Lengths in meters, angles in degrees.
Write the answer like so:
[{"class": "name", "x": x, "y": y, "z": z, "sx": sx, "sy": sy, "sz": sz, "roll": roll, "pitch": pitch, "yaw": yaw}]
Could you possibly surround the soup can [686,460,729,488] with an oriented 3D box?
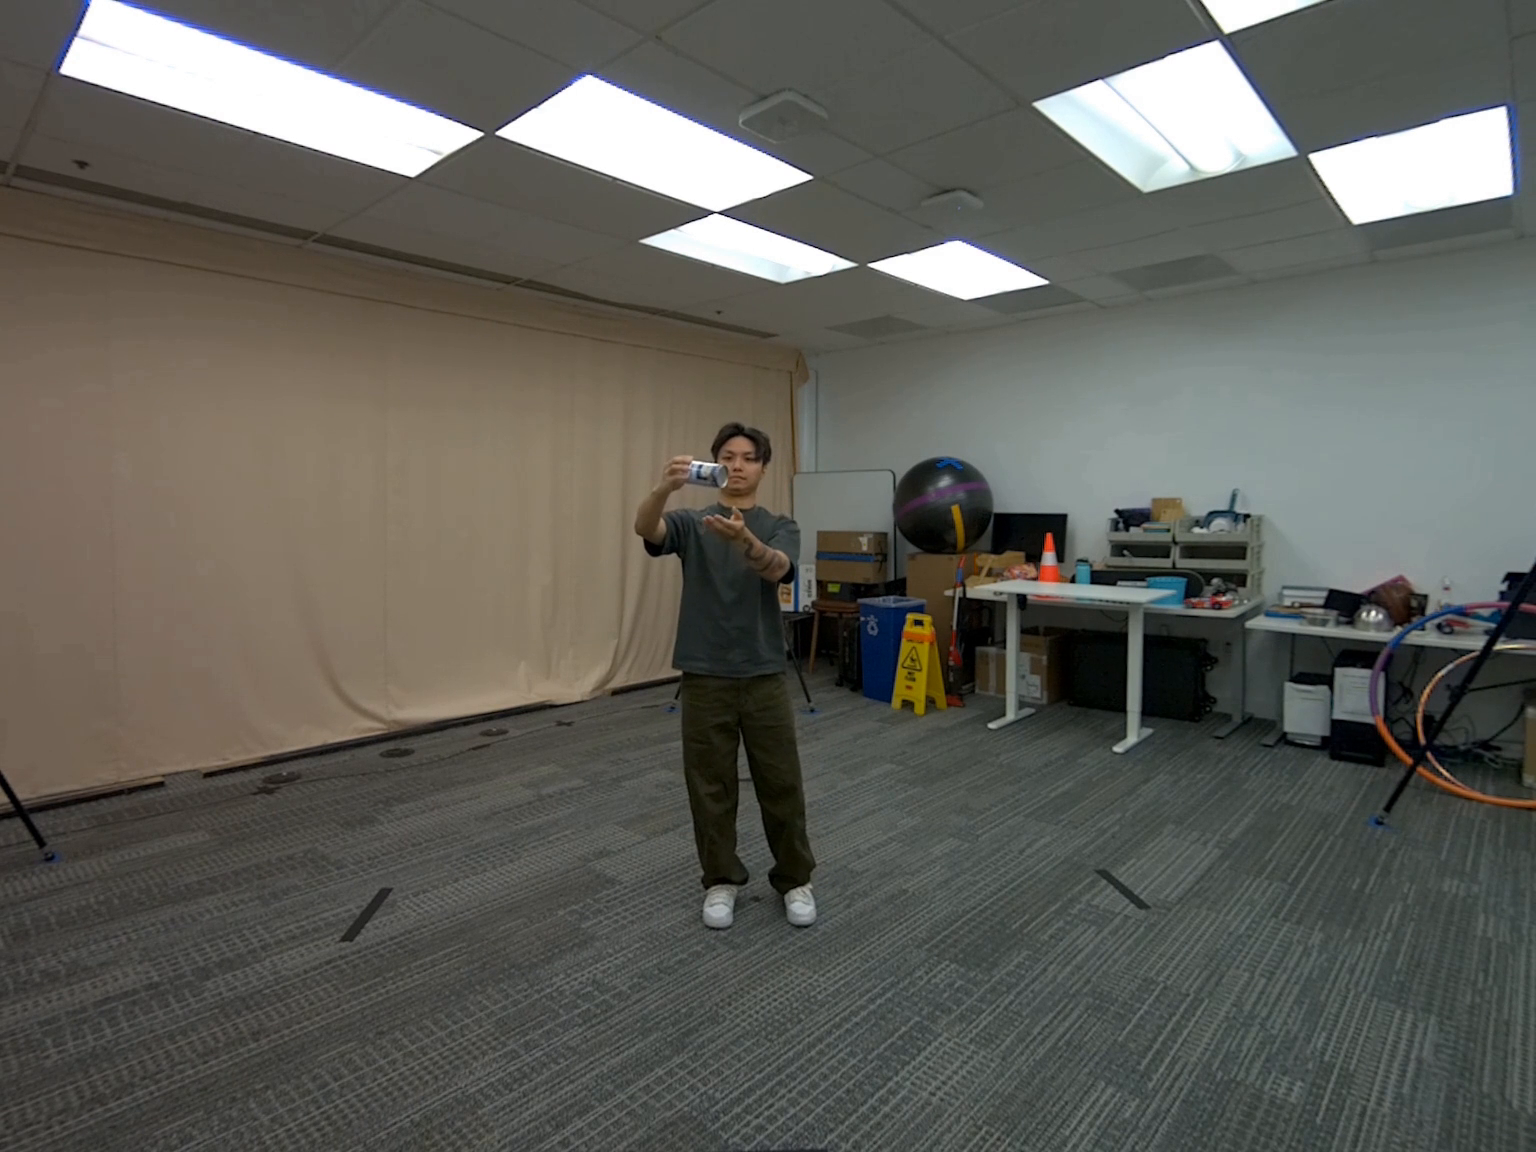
[{"class": "soup can", "x": -0.170, "y": -0.282, "z": 2.343, "sx": 0.126, "sy": 0.067, "sz": 0.065, "roll": 12, "pitch": 10, "yaw": 35}]
